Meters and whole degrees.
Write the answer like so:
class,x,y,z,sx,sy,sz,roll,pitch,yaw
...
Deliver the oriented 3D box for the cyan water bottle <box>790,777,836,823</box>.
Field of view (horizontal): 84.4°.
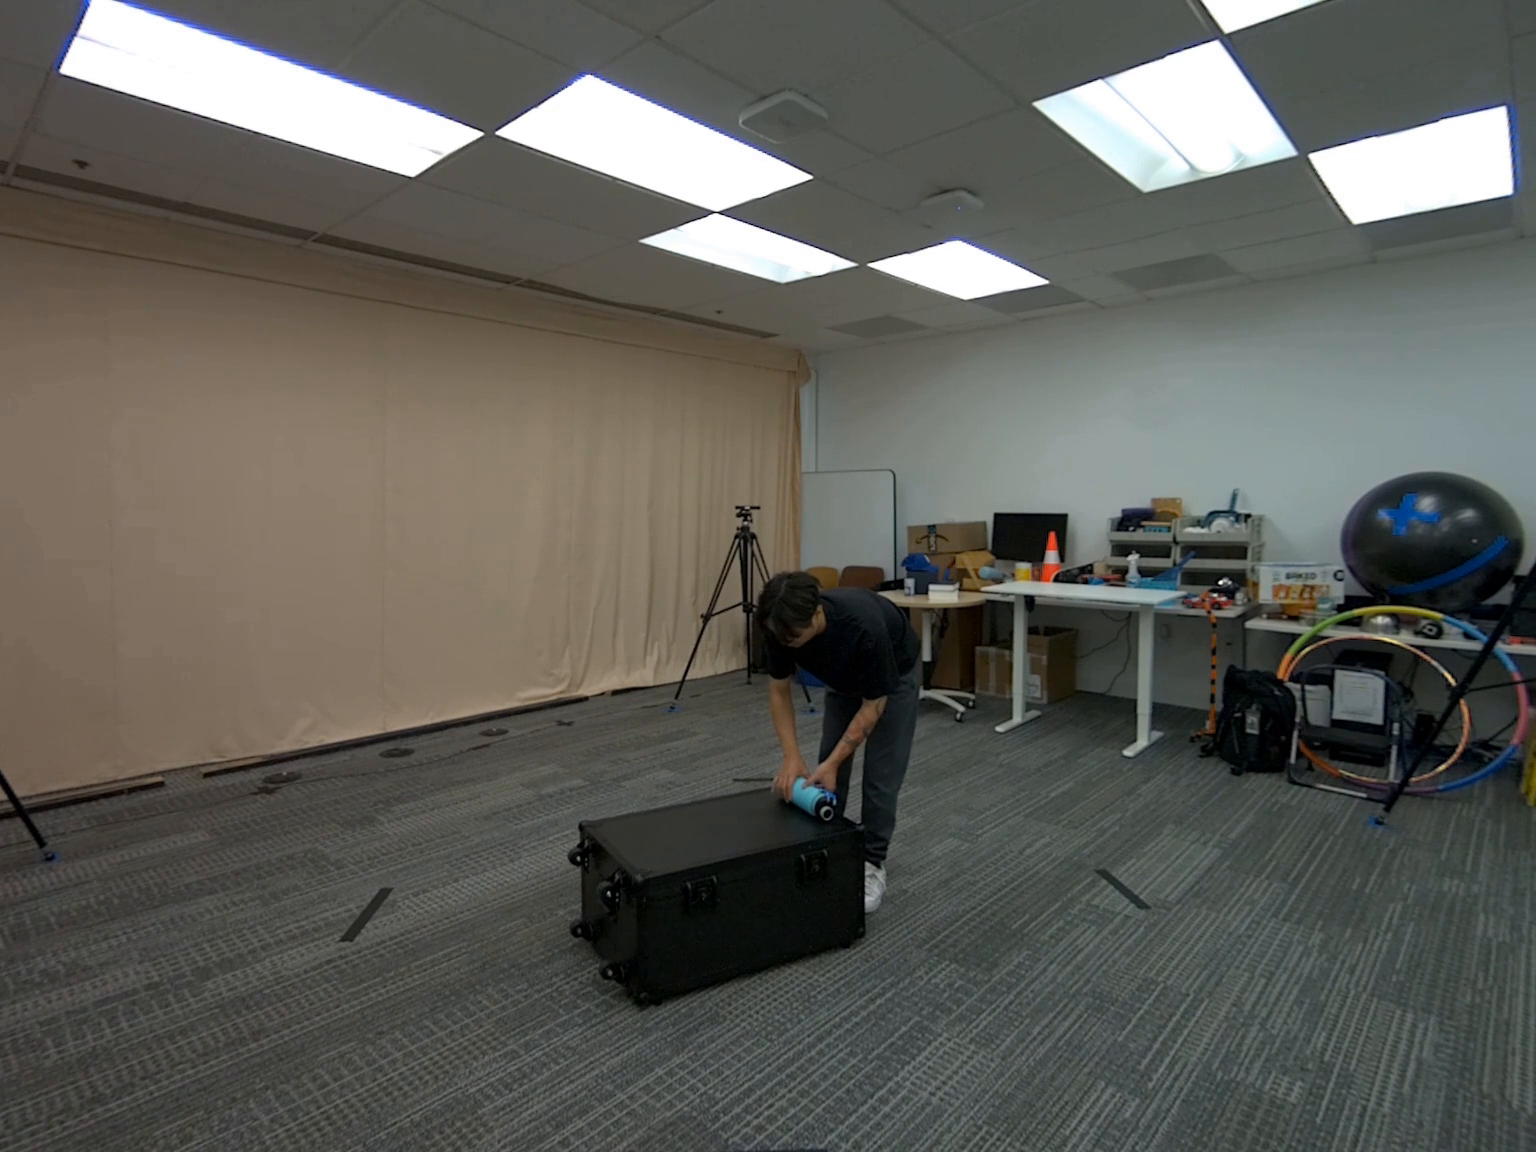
class,x,y,z,sx,sy,sz,roll,pitch,yaw
cyan water bottle,0.137,0.732,2.815,0.090,0.092,0.290,-2,2,-27
